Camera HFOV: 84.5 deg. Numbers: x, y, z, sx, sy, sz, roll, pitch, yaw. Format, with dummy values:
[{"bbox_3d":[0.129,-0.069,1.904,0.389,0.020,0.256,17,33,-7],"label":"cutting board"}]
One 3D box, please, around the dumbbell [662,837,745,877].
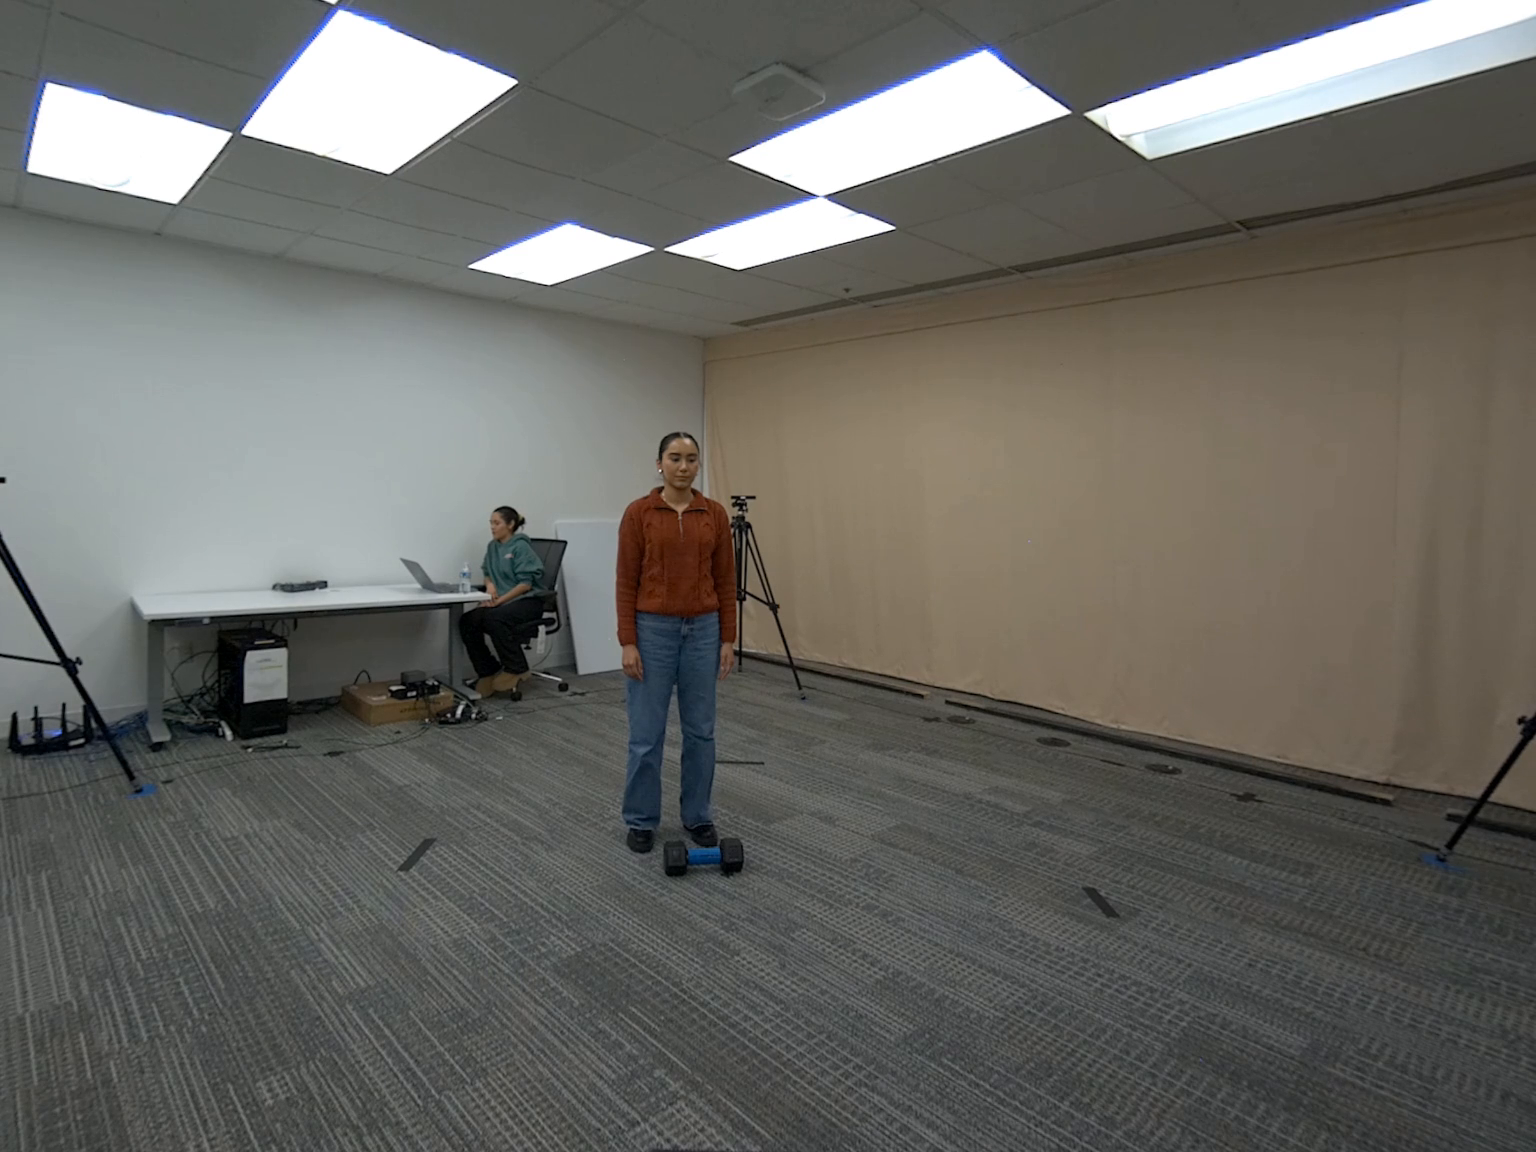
[{"bbox_3d":[-0.246,1.043,3.125,0.291,0.125,0.107,0,-26,-10],"label":"dumbbell"}]
